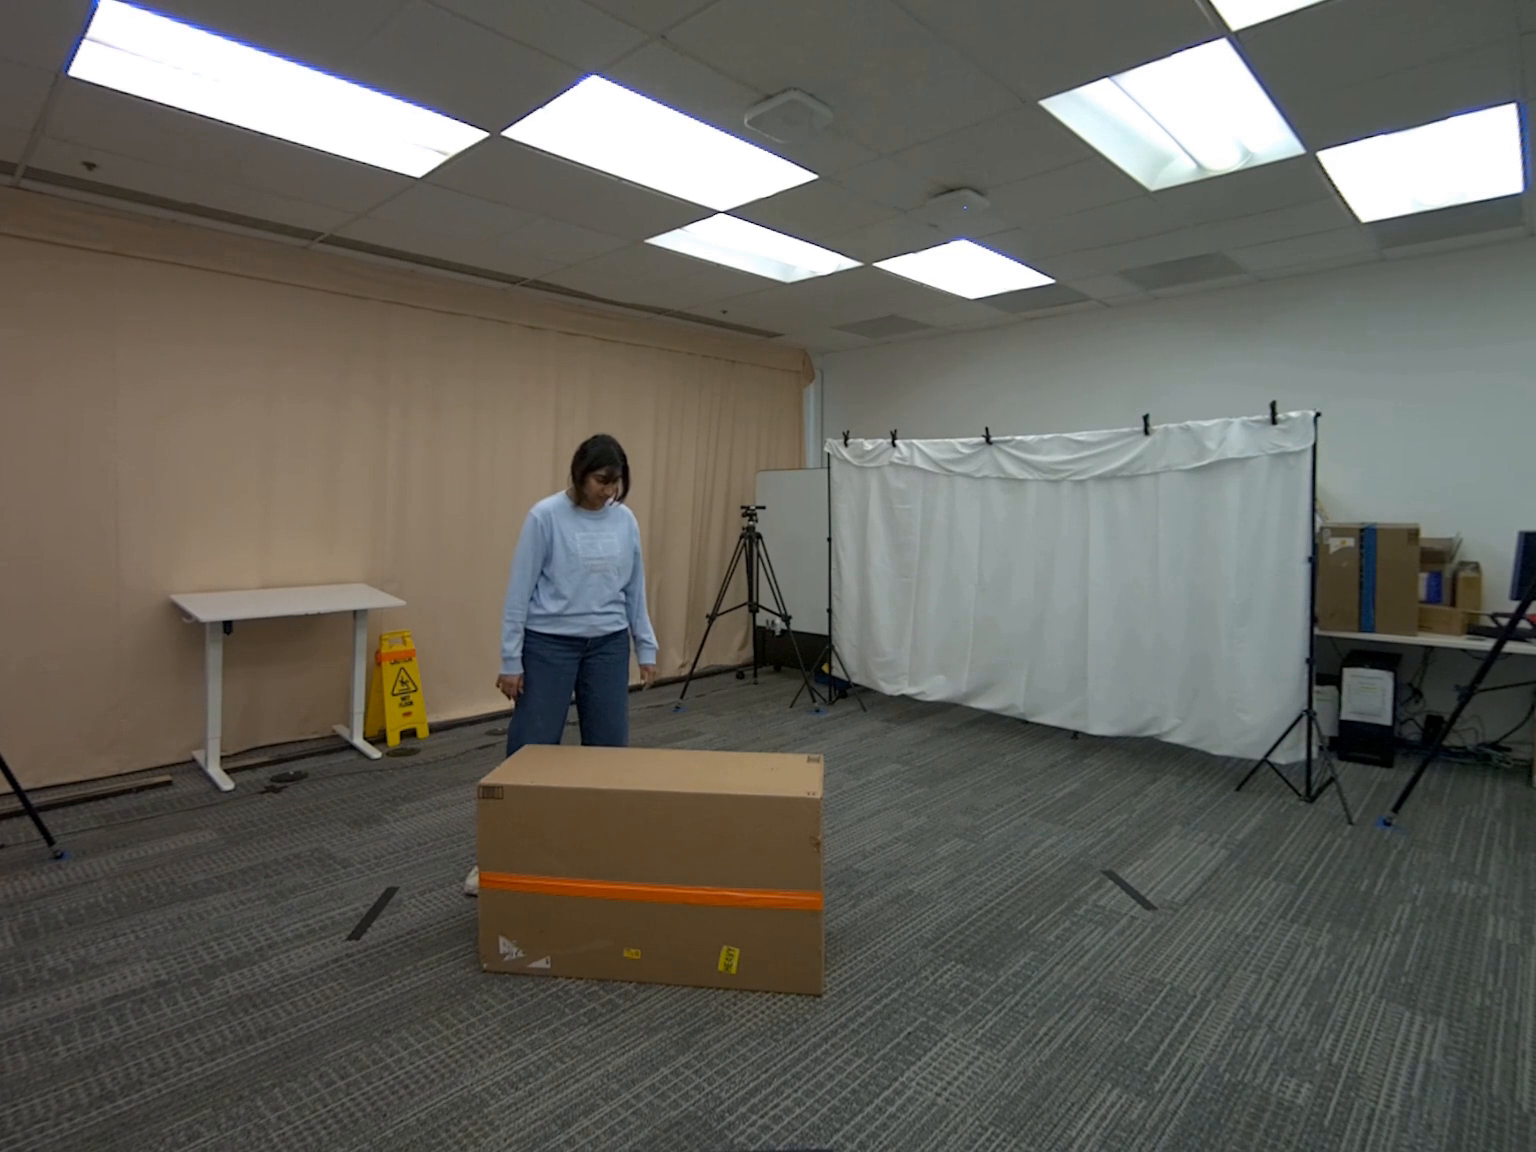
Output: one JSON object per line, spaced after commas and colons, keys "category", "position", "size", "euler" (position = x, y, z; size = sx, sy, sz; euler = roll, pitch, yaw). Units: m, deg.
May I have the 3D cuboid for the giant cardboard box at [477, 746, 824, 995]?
{"category": "giant cardboard box", "position": [-0.336, 0.883, 2.643], "size": [1.035, 0.576, 0.423], "euler": [0, 4, 8]}
